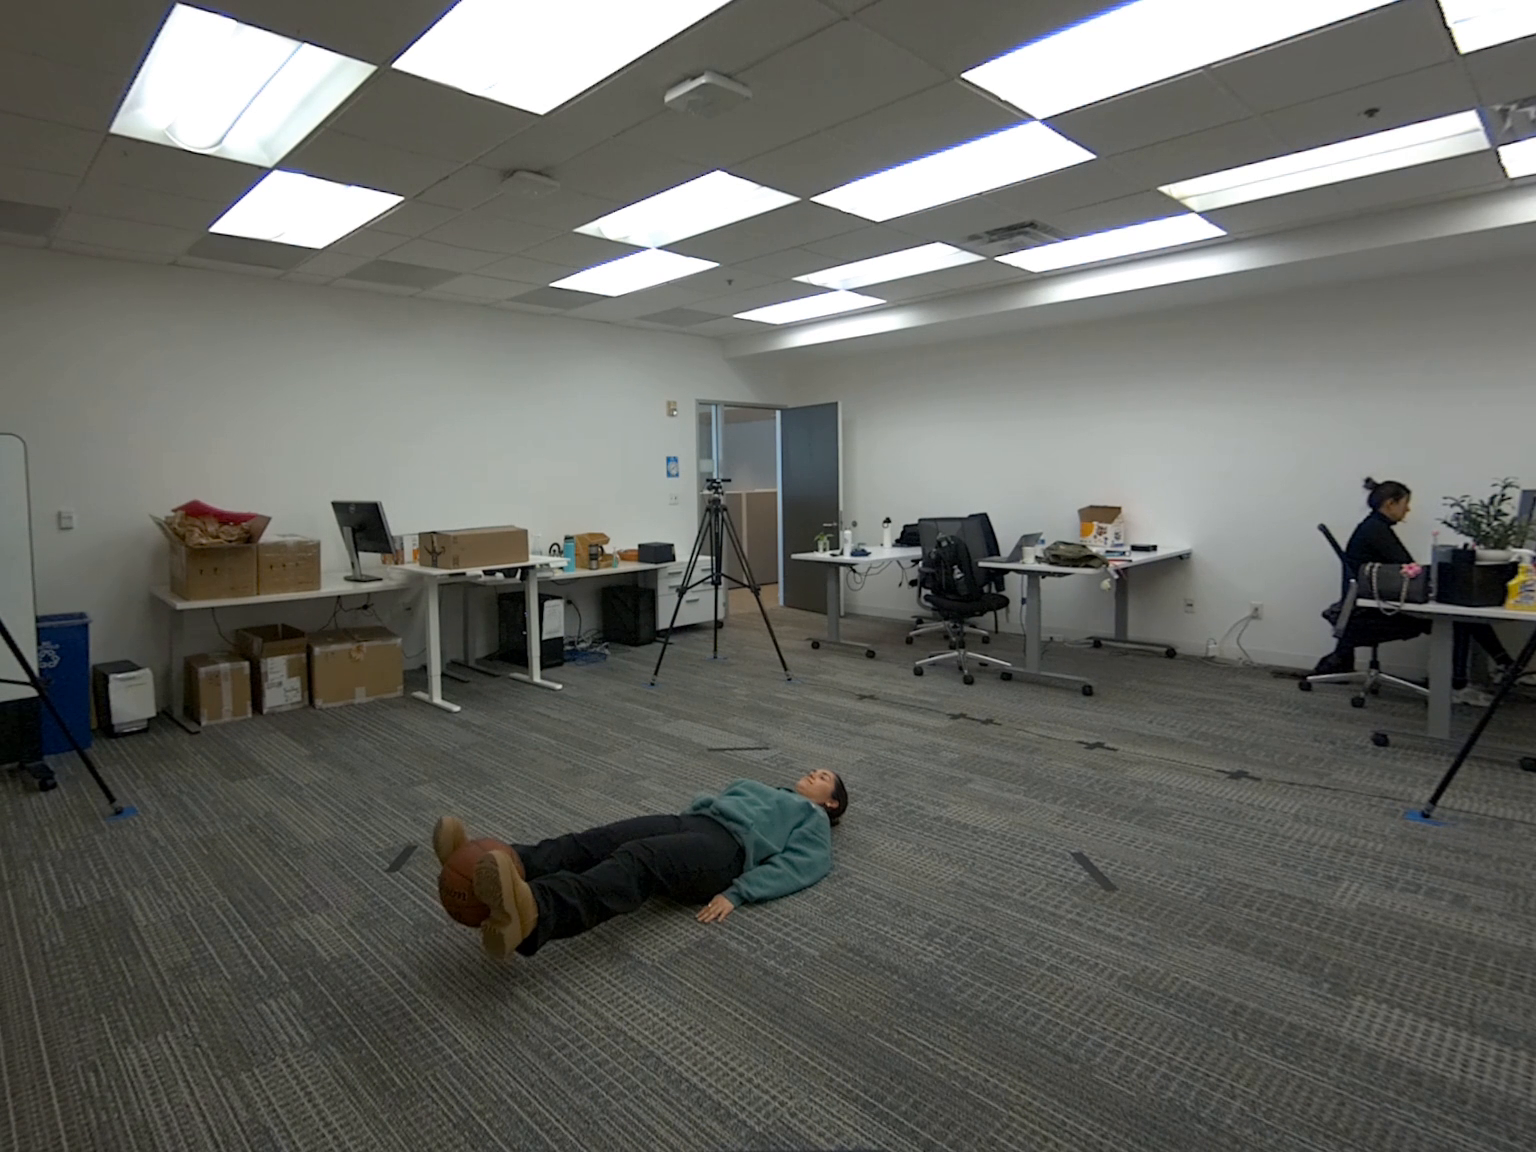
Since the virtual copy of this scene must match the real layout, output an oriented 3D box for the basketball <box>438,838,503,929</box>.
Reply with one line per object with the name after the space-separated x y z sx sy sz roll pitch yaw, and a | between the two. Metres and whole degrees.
-0.802 0.864 2.418 0.236 0.235 0.237 -1 4 -2 | basketball
